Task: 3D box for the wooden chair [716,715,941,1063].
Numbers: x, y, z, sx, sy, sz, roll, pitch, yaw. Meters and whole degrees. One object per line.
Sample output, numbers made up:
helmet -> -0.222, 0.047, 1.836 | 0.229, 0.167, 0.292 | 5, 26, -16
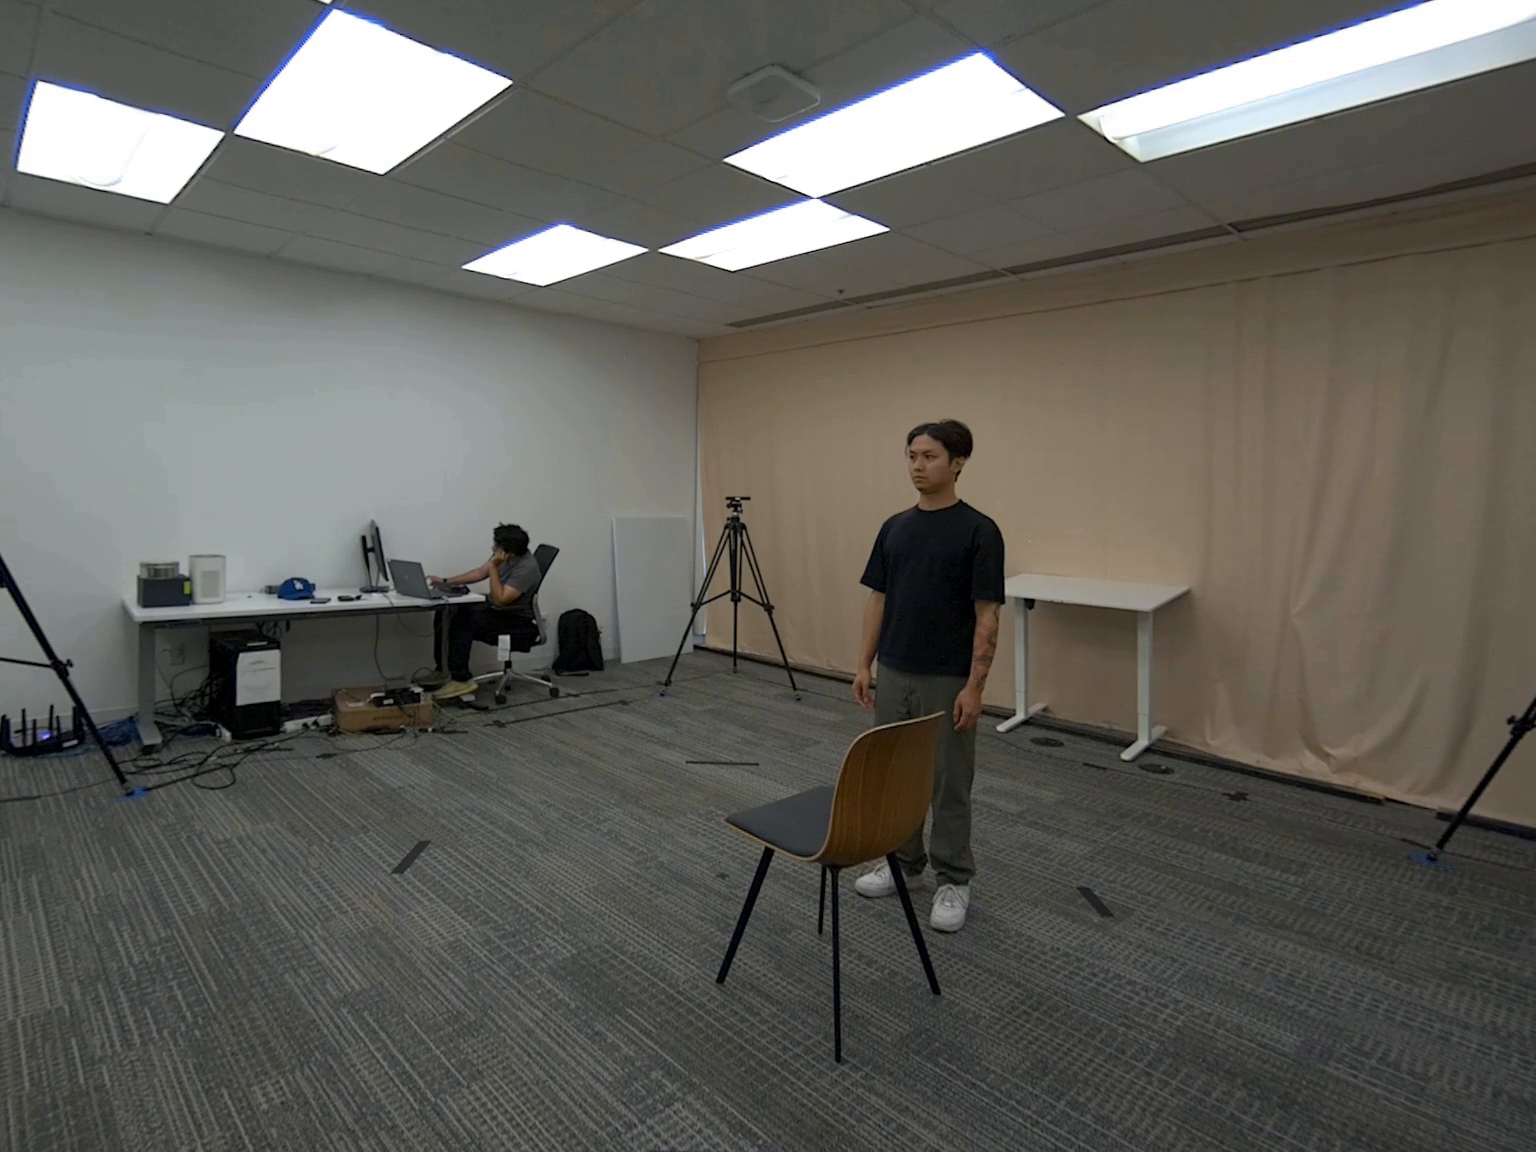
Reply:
wooden chair -> 0.173, 0.754, 2.372 | 0.467, 0.873, 0.538 | -2, 10, -44
